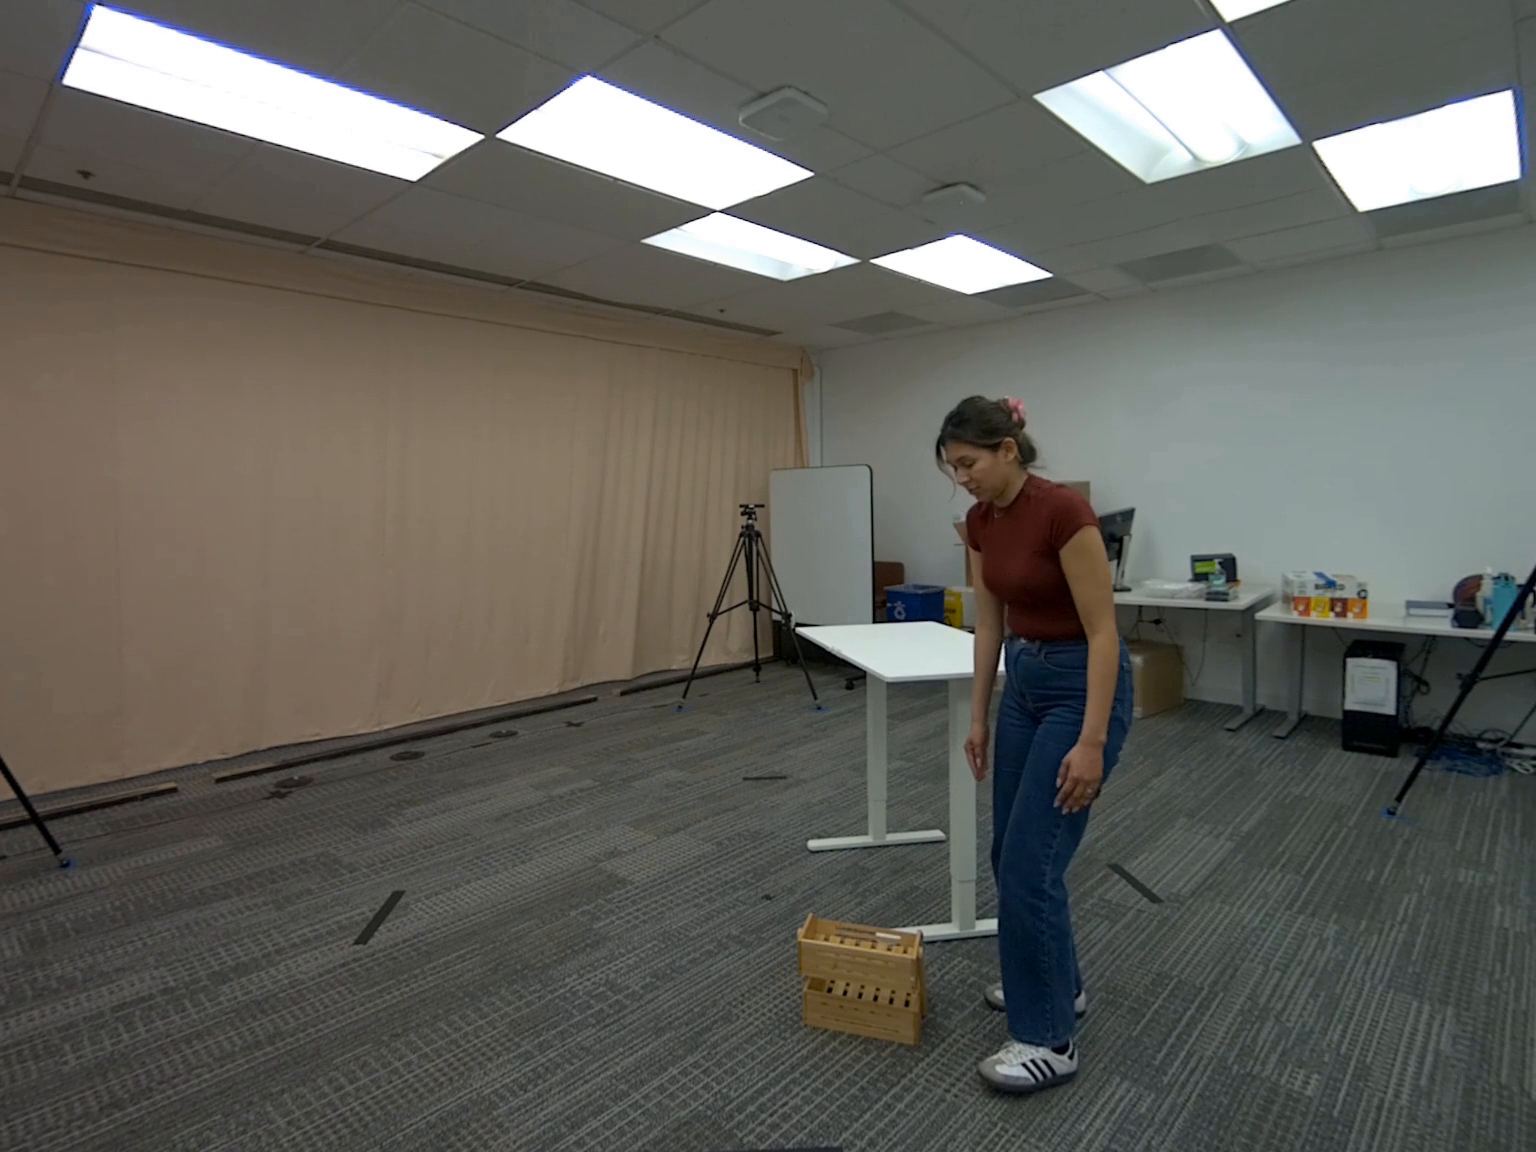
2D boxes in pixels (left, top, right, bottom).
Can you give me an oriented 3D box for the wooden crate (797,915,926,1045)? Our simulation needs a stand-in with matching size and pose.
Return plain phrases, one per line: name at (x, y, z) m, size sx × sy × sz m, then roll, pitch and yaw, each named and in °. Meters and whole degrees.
wooden crate at (0.270, 1.064, 2.285) m, size 0.331 × 0.272 × 0.297 m, roll 1°, pitch 5°, yaw 17°
